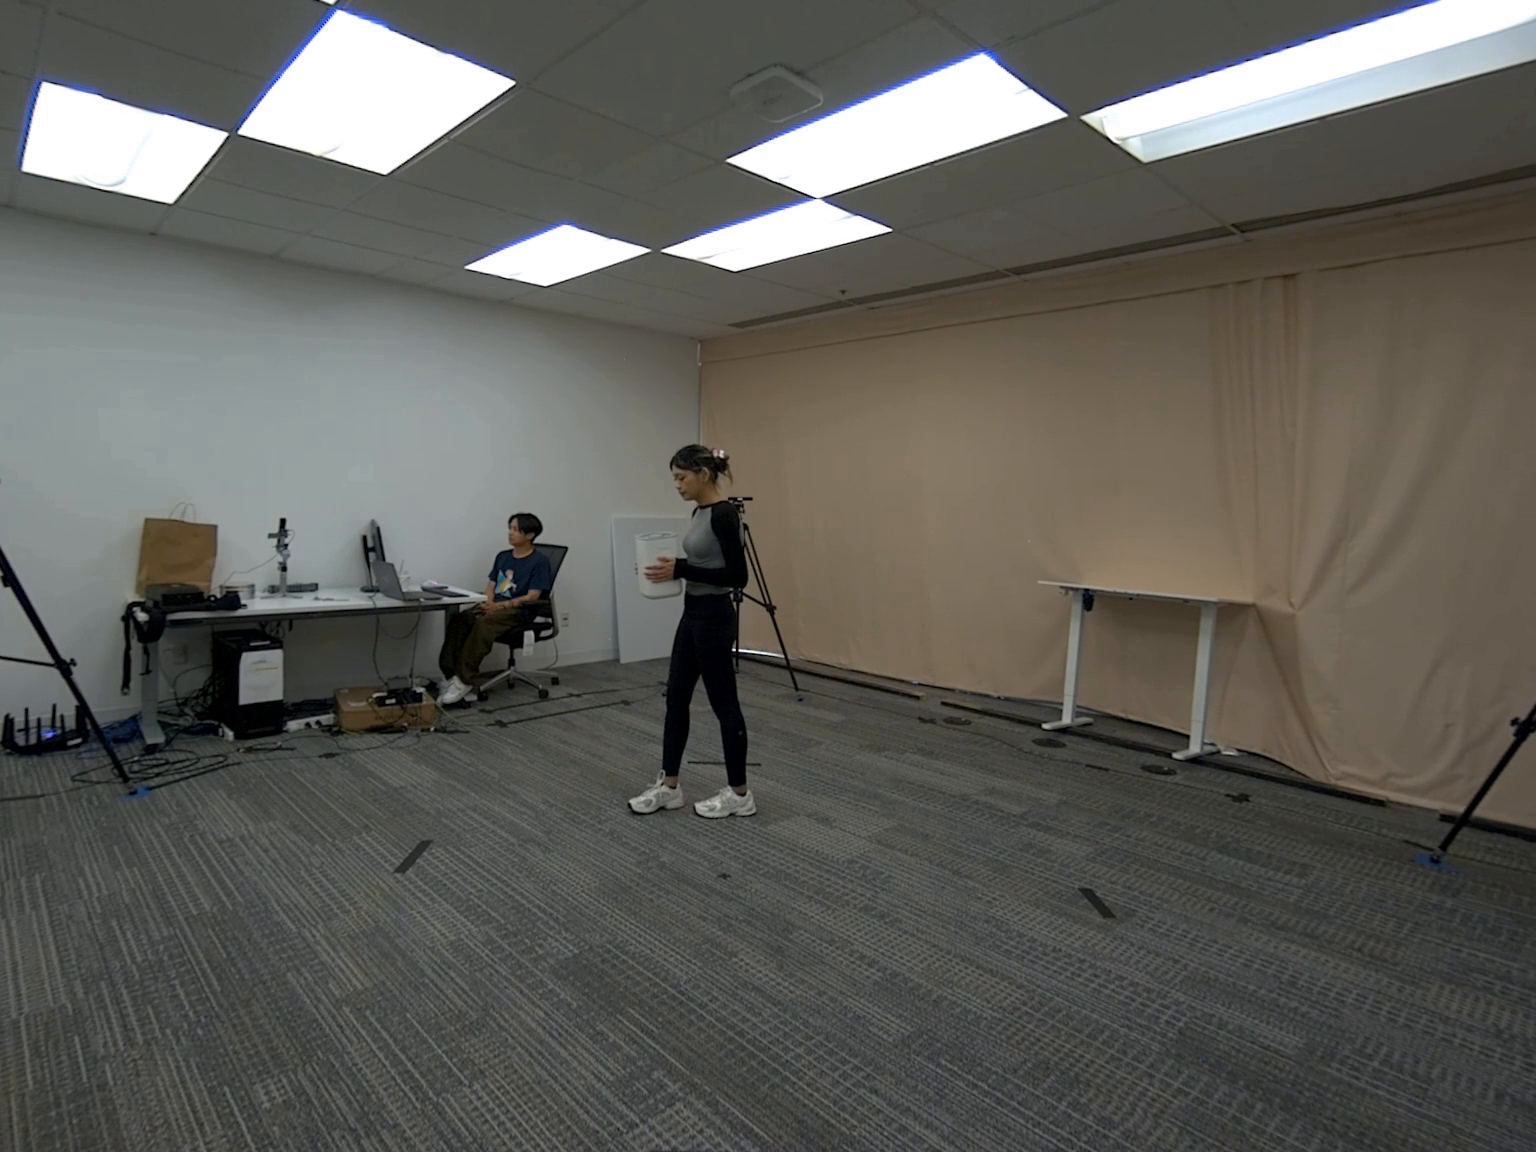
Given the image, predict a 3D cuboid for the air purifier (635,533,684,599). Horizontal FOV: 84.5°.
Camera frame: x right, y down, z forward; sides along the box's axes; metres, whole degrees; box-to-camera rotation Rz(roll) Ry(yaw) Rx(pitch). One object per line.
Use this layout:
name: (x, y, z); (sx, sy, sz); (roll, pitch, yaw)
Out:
air purifier: (-0.473, -0.048, 3.616); (0.168, 0.263, 0.175); (-6, 11, -22)
